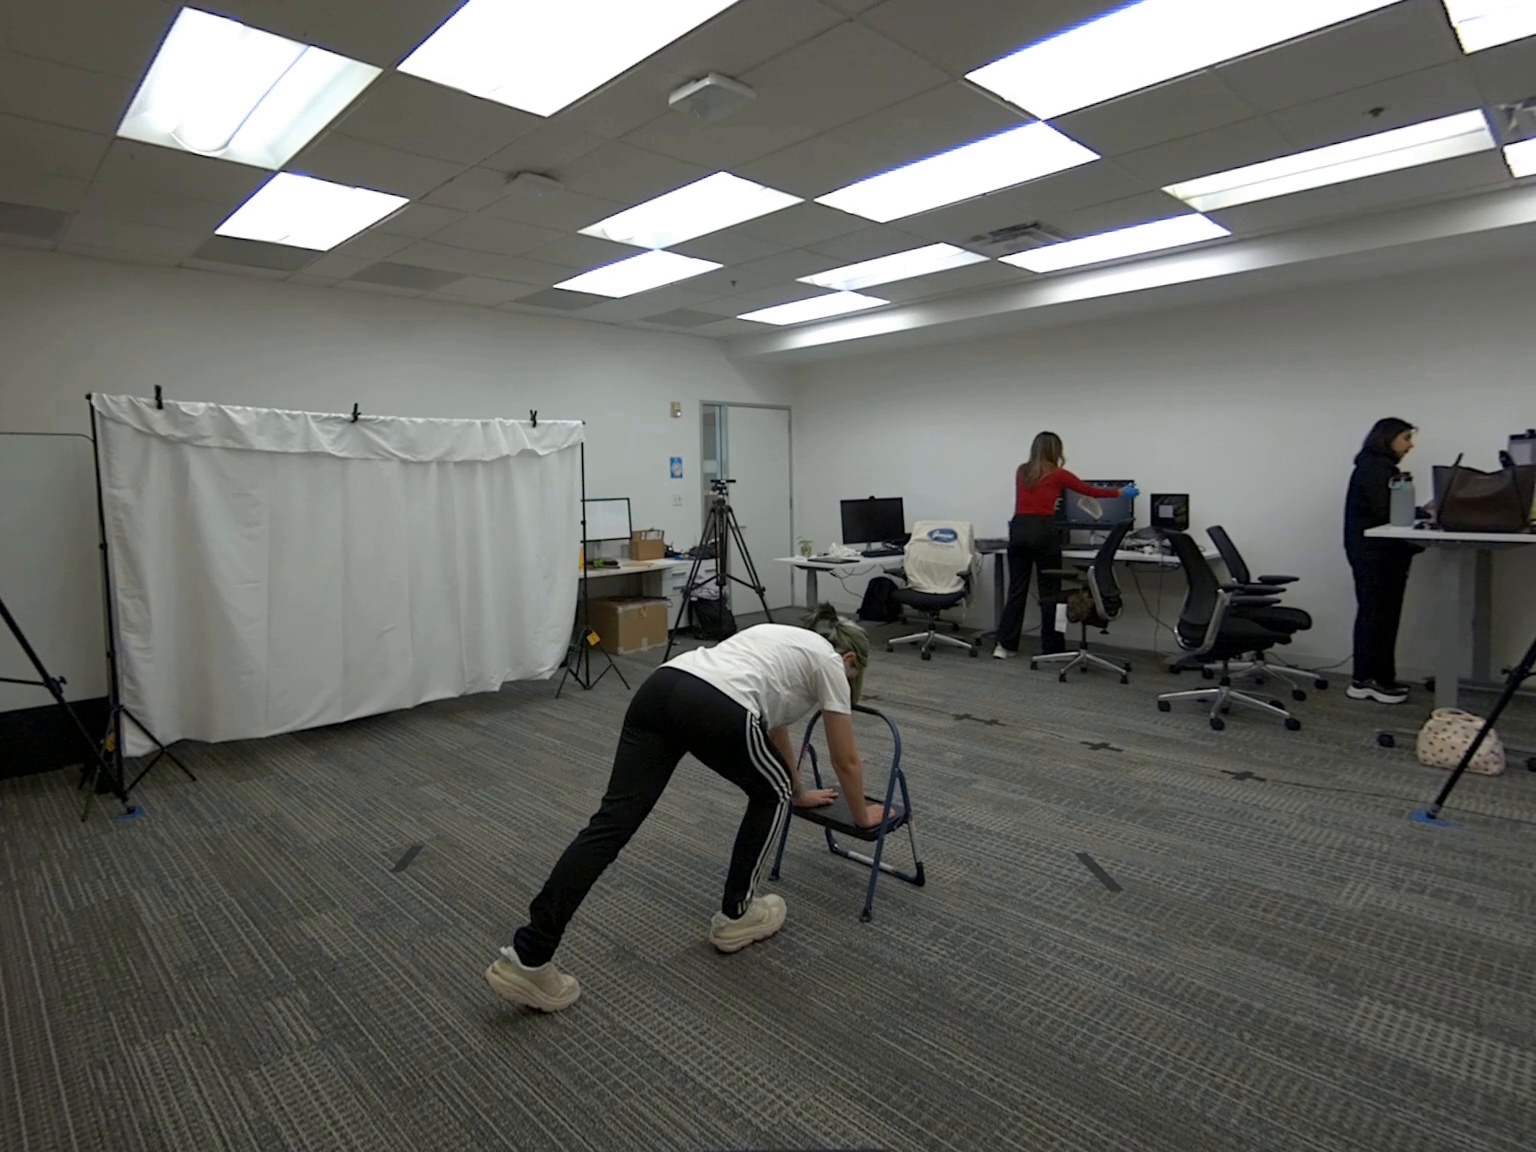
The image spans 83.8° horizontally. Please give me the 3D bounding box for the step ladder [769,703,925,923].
[{"bbox_3d":[0.272,0.759,2.937,0.444,0.604,0.340,3,6,45],"label":"step ladder"}]
